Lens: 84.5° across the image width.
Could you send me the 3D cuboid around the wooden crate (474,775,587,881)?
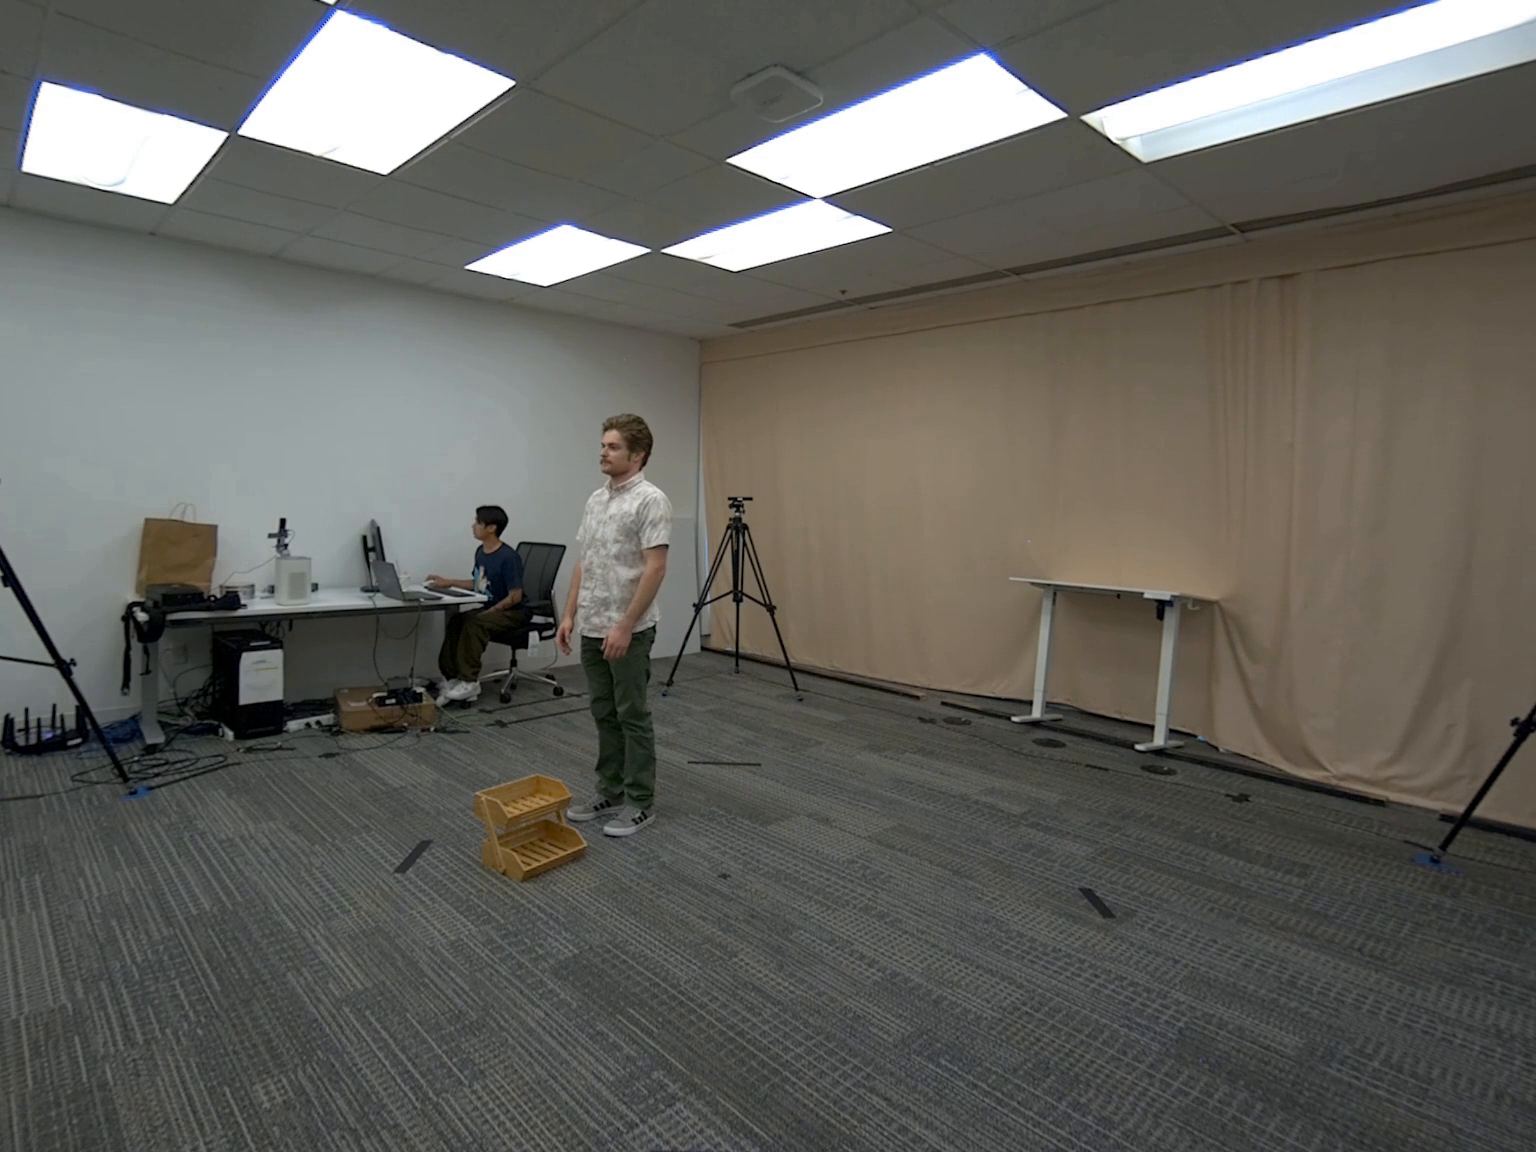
[{"bbox_3d":[-0.909,0.947,3.206,0.309,0.273,0.317,3,5,37],"label":"wooden crate"}]
